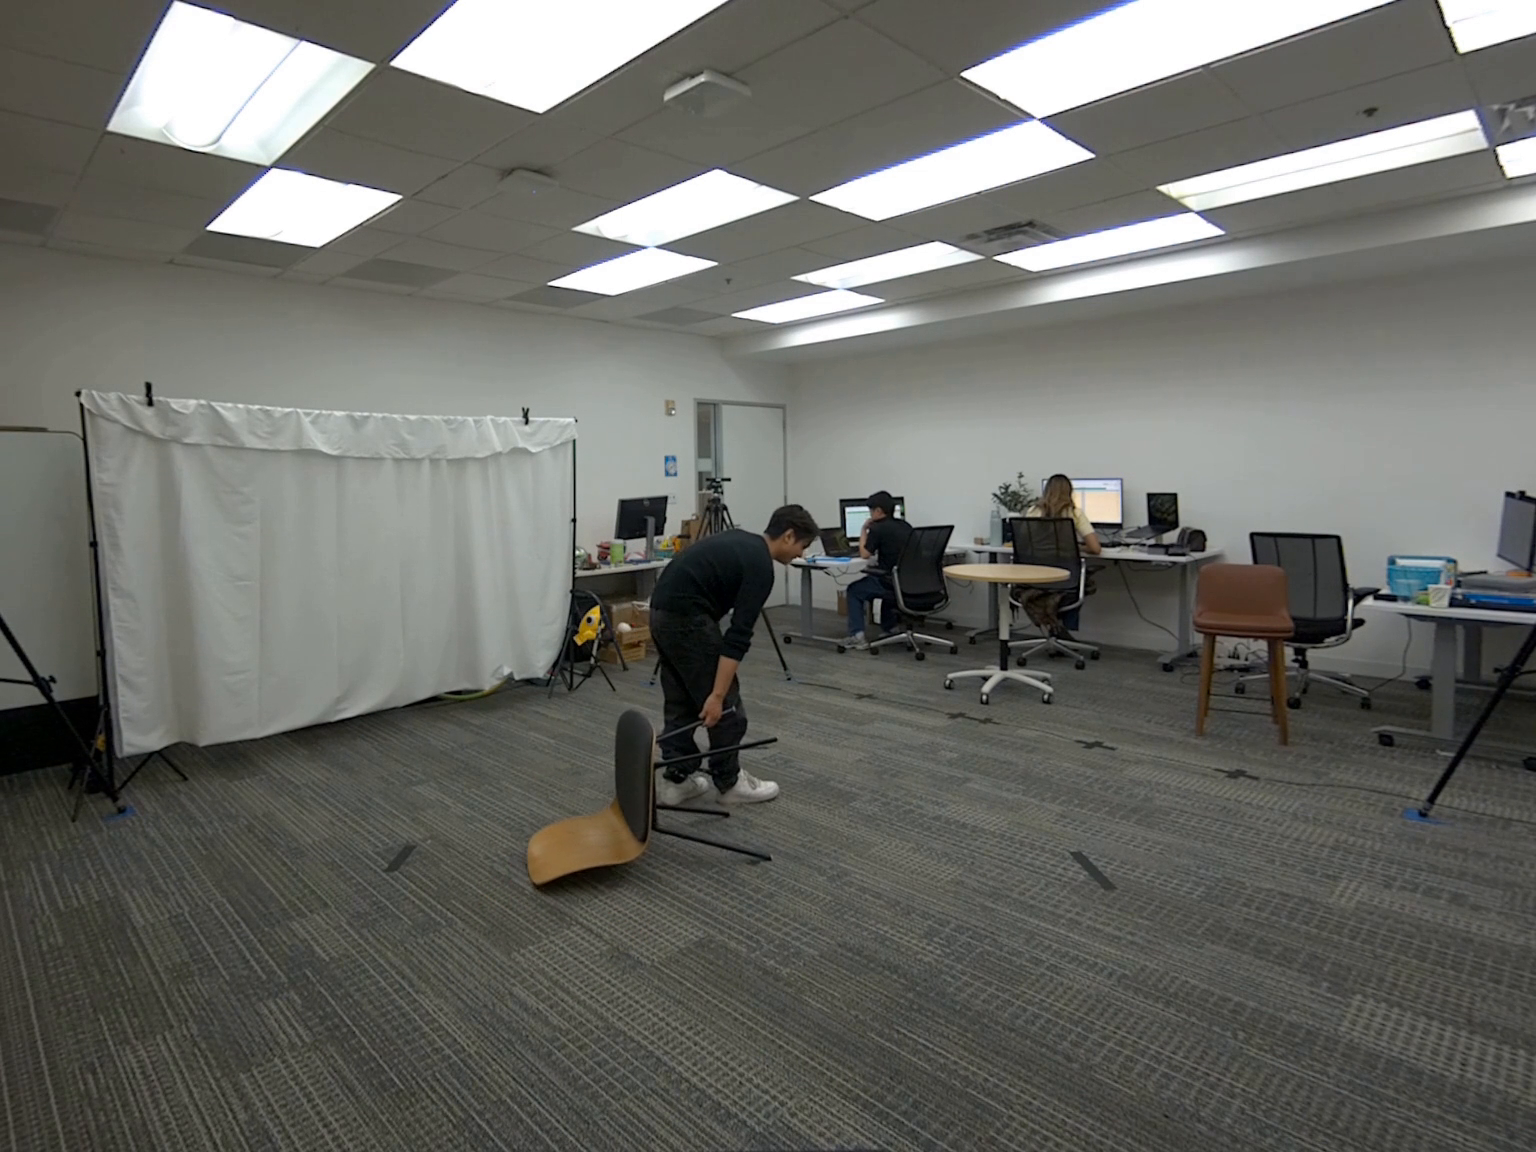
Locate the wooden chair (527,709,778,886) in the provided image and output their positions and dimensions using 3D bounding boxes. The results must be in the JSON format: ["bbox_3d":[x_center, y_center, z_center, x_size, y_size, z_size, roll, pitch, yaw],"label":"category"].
[{"bbox_3d":[-0.454,0.785,3.169,0.862,0.521,0.489,-4,5,-21],"label":"wooden chair"}]
